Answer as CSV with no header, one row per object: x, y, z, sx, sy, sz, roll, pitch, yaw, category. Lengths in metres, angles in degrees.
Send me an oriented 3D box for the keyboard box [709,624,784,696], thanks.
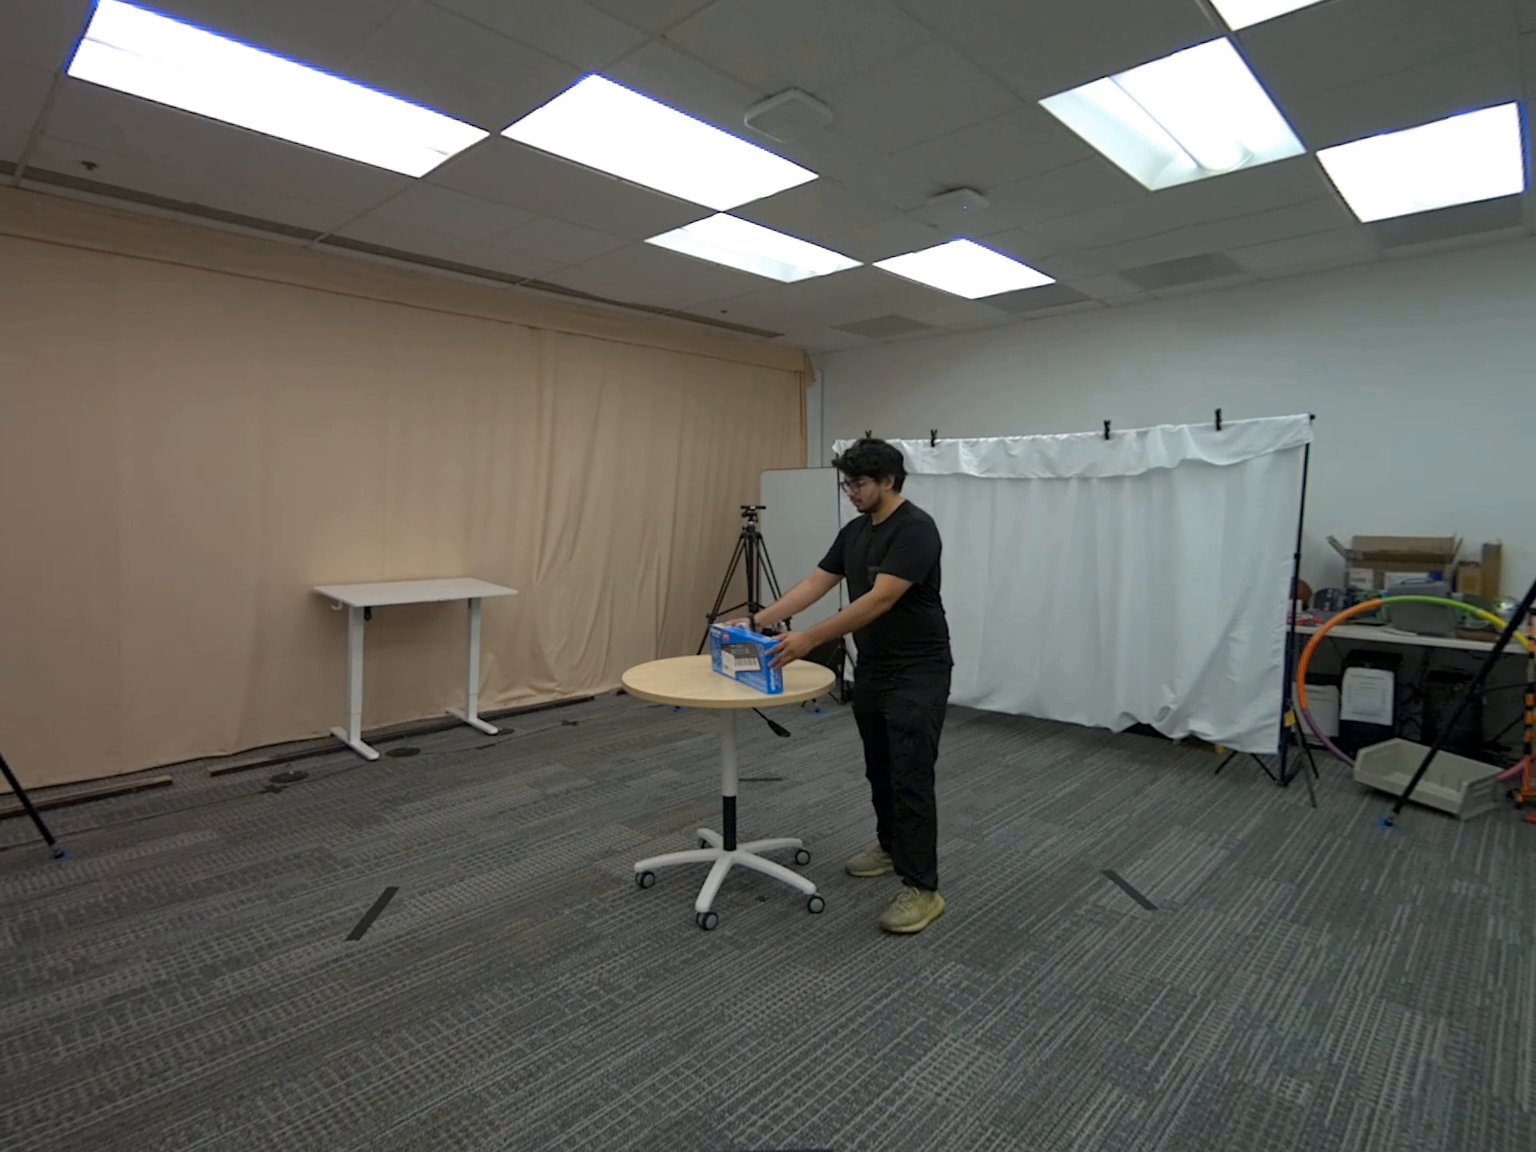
-0.078,0.285,2.928,0.058,0.175,0.449,-5,6,-27,keyboard box
